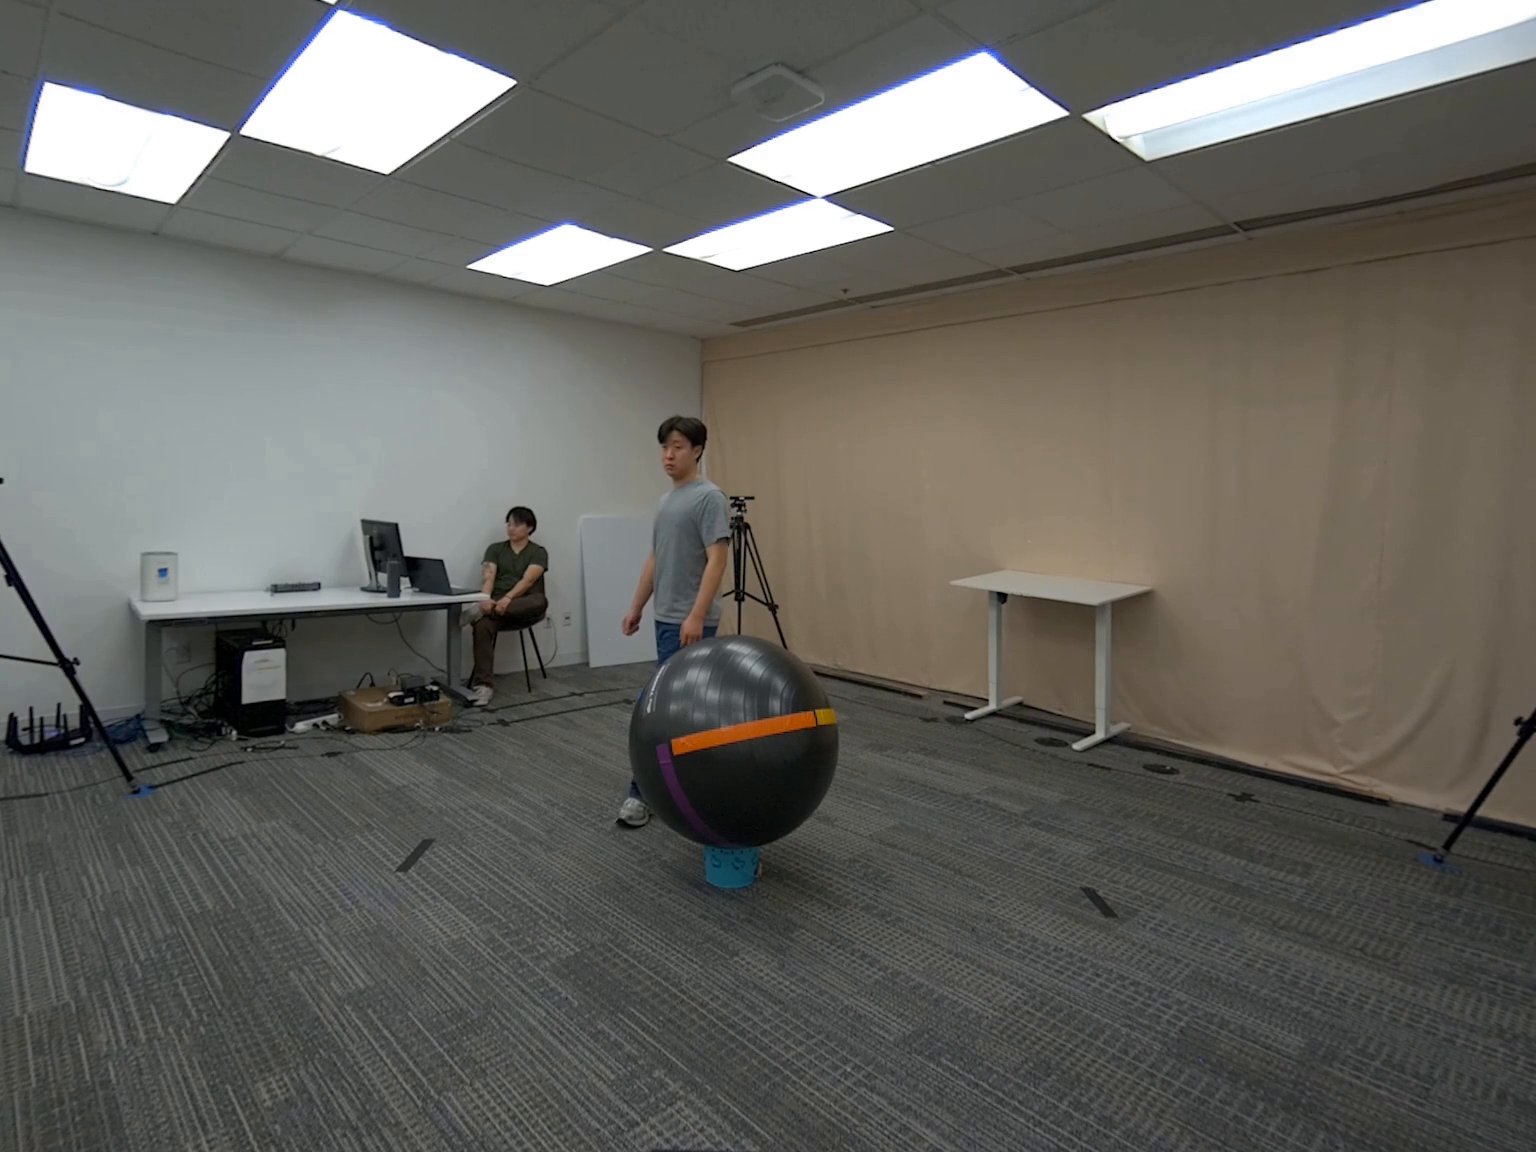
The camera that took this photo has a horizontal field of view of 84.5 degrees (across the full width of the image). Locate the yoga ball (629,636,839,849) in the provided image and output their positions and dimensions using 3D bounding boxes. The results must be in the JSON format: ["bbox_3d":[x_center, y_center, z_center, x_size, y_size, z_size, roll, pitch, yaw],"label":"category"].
[{"bbox_3d":[-0.132,0.595,3.063,0.757,0.756,0.761,1,4,-1],"label":"yoga ball"}]
